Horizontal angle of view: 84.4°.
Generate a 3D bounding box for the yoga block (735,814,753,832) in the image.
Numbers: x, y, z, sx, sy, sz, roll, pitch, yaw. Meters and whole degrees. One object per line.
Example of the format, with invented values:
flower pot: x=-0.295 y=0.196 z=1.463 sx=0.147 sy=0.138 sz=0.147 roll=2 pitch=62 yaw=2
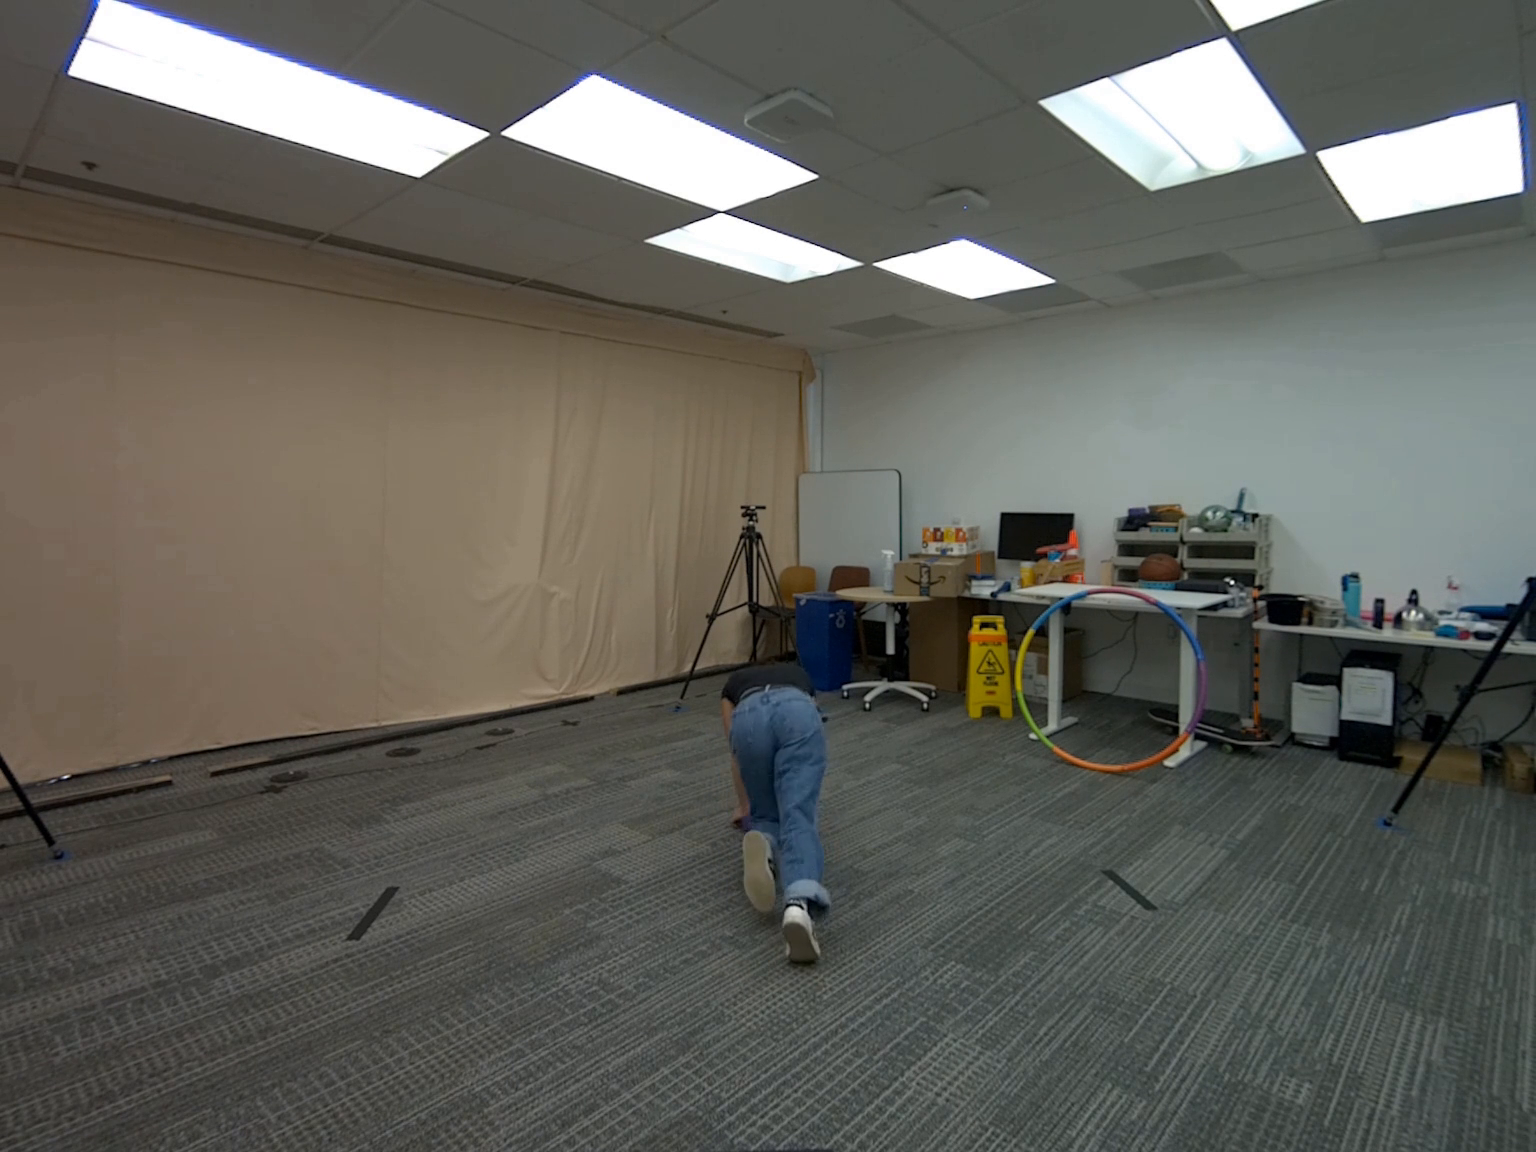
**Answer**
yoga block: x=0.014 y=1.048 z=3.666 sx=0.229 sy=0.076 sz=0.149 roll=-2 pitch=6 yaw=-1
